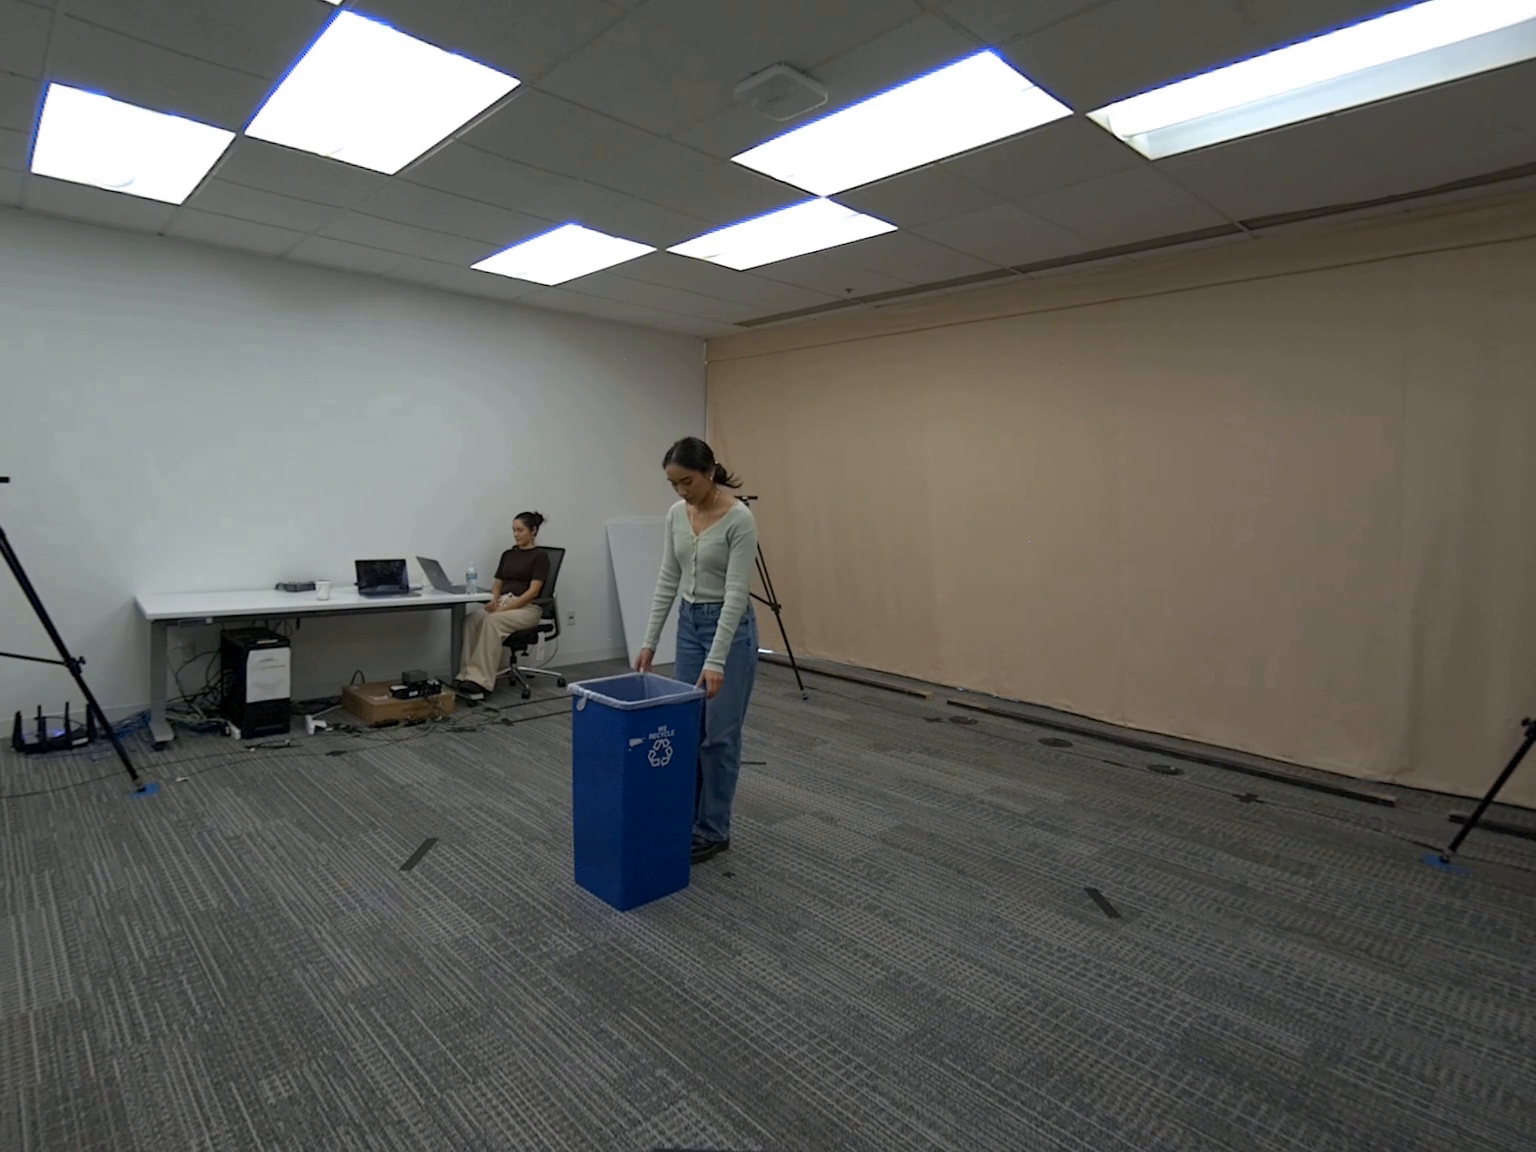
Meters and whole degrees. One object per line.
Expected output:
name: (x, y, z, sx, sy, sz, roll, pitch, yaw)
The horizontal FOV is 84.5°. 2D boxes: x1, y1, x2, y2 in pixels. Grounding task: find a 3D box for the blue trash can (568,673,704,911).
blue trash can: (-0.481, 0.747, 3.003, 0.388, 0.712, 0.365, 5, 5, 44)
